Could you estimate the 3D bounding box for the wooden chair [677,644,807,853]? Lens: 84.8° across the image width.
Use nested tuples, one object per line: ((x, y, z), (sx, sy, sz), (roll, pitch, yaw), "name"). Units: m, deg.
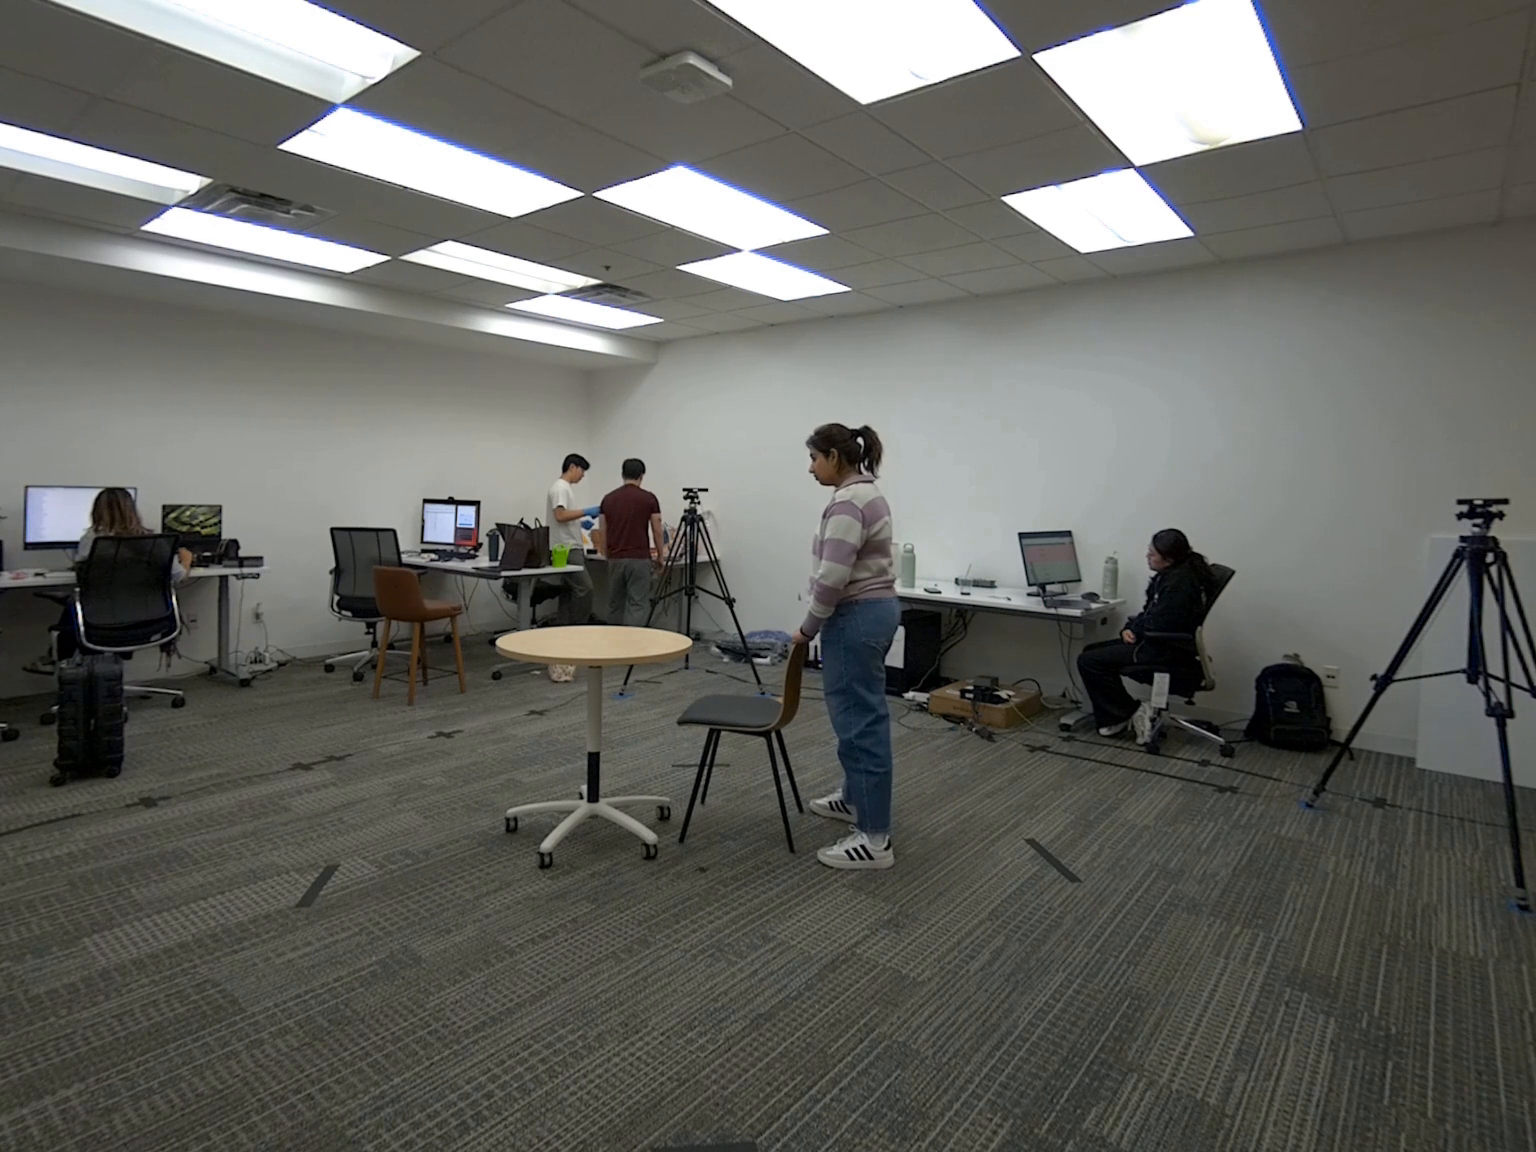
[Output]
((-0.107, 0.610, 3.491), (0.530, 0.874, 0.474), (6, 4, 10), "wooden chair")
